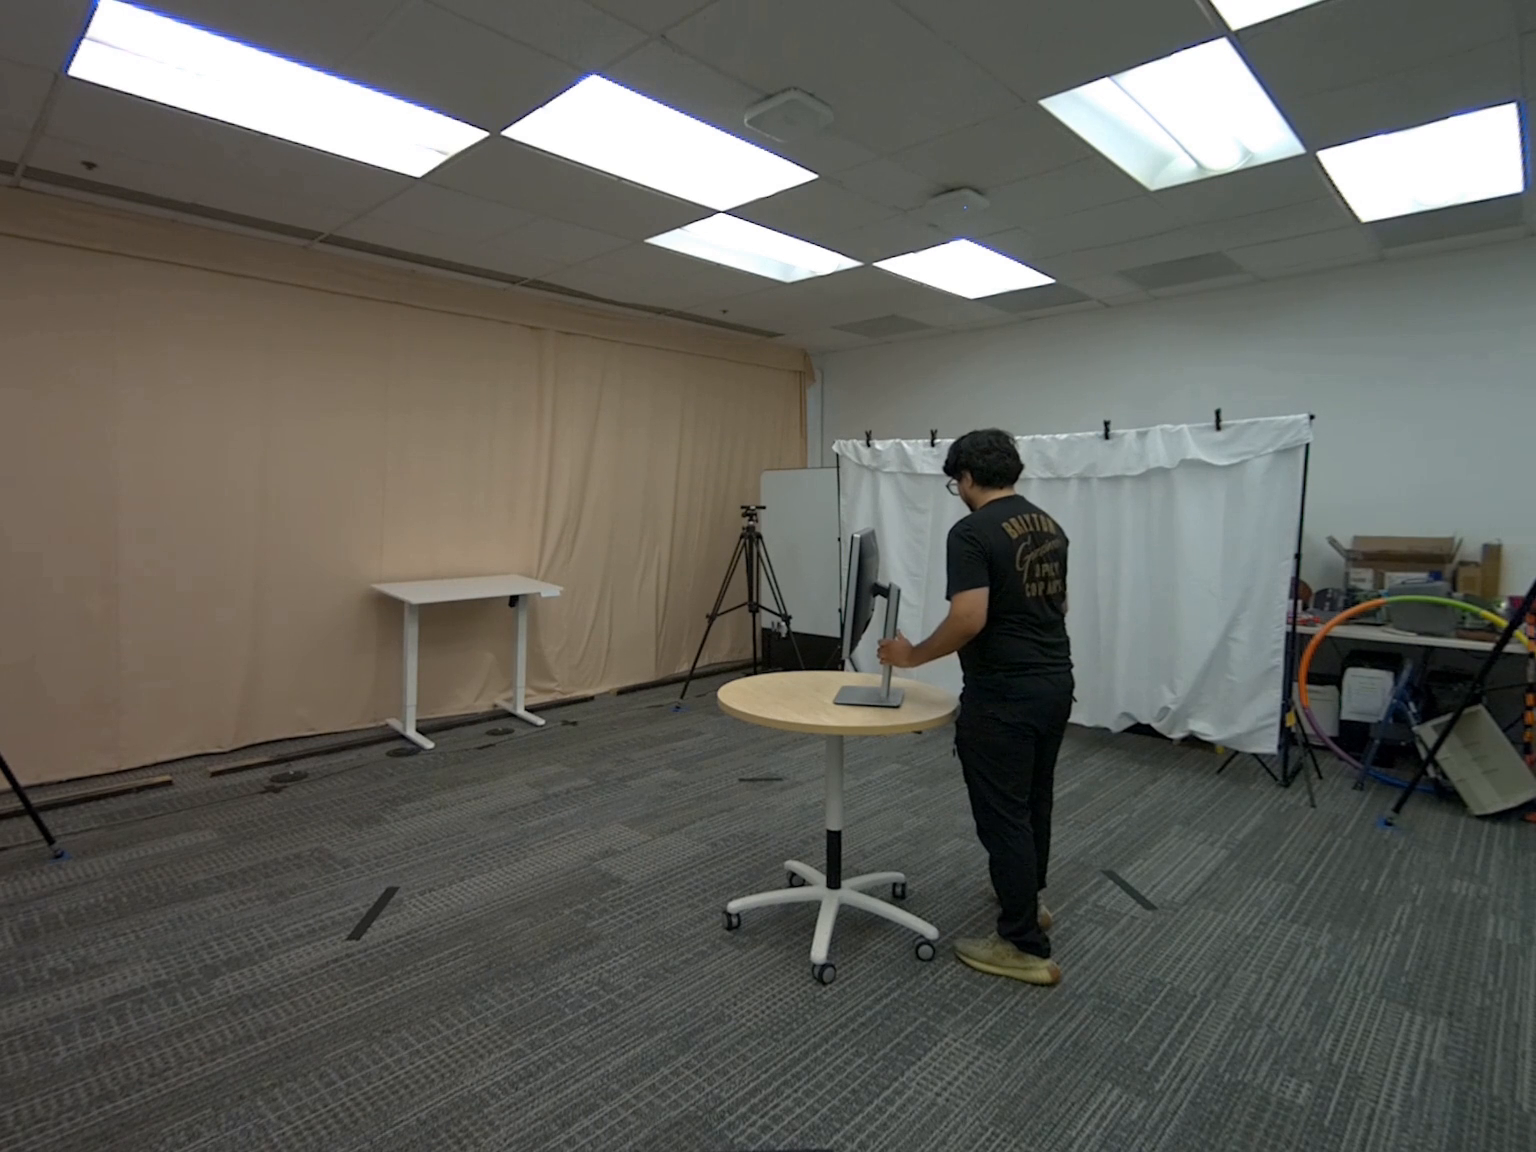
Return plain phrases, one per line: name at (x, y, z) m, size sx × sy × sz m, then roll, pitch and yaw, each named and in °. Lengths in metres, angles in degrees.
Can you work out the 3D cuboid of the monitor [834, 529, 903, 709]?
monitor at (0.355, 0.131, 2.665) m, size 0.213 × 0.552 × 0.558 m, roll 3°, pitch 5°, yaw 12°
